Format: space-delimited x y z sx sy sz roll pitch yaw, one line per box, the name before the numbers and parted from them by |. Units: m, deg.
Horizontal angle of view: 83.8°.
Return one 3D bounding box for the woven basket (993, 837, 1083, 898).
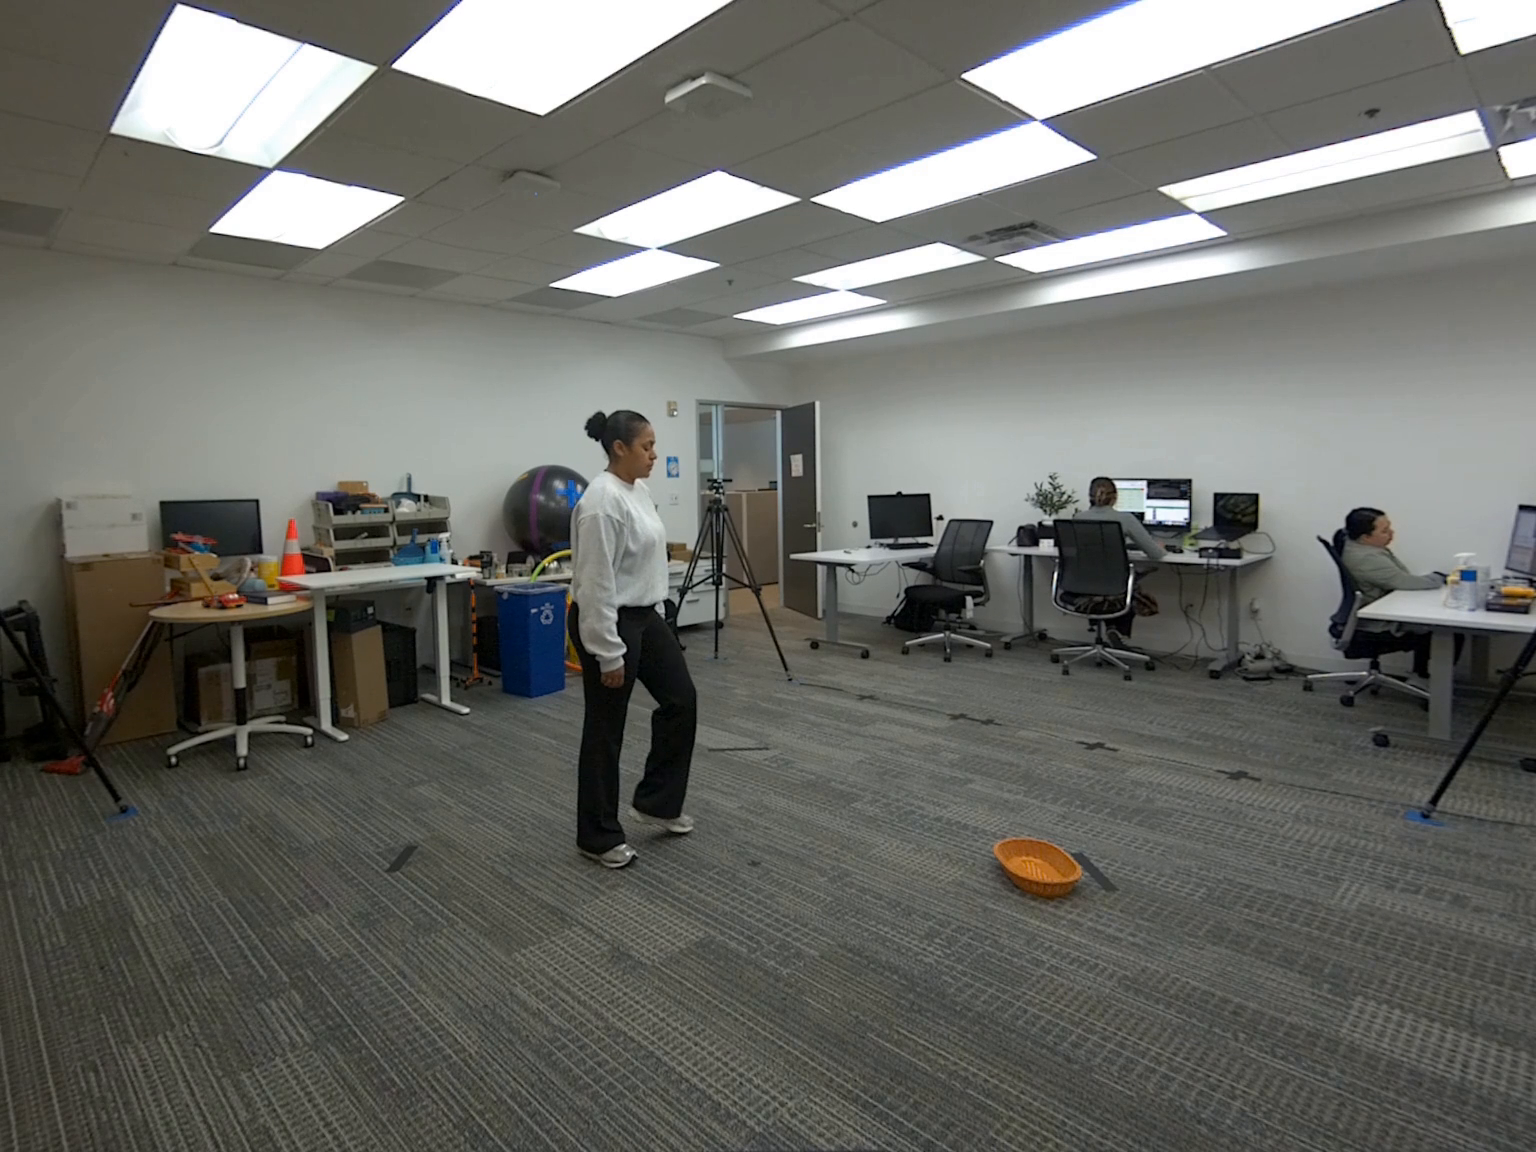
woven basket | 0.931 1.009 2.952 0.251 0.073 0.354 -2 6 -6
